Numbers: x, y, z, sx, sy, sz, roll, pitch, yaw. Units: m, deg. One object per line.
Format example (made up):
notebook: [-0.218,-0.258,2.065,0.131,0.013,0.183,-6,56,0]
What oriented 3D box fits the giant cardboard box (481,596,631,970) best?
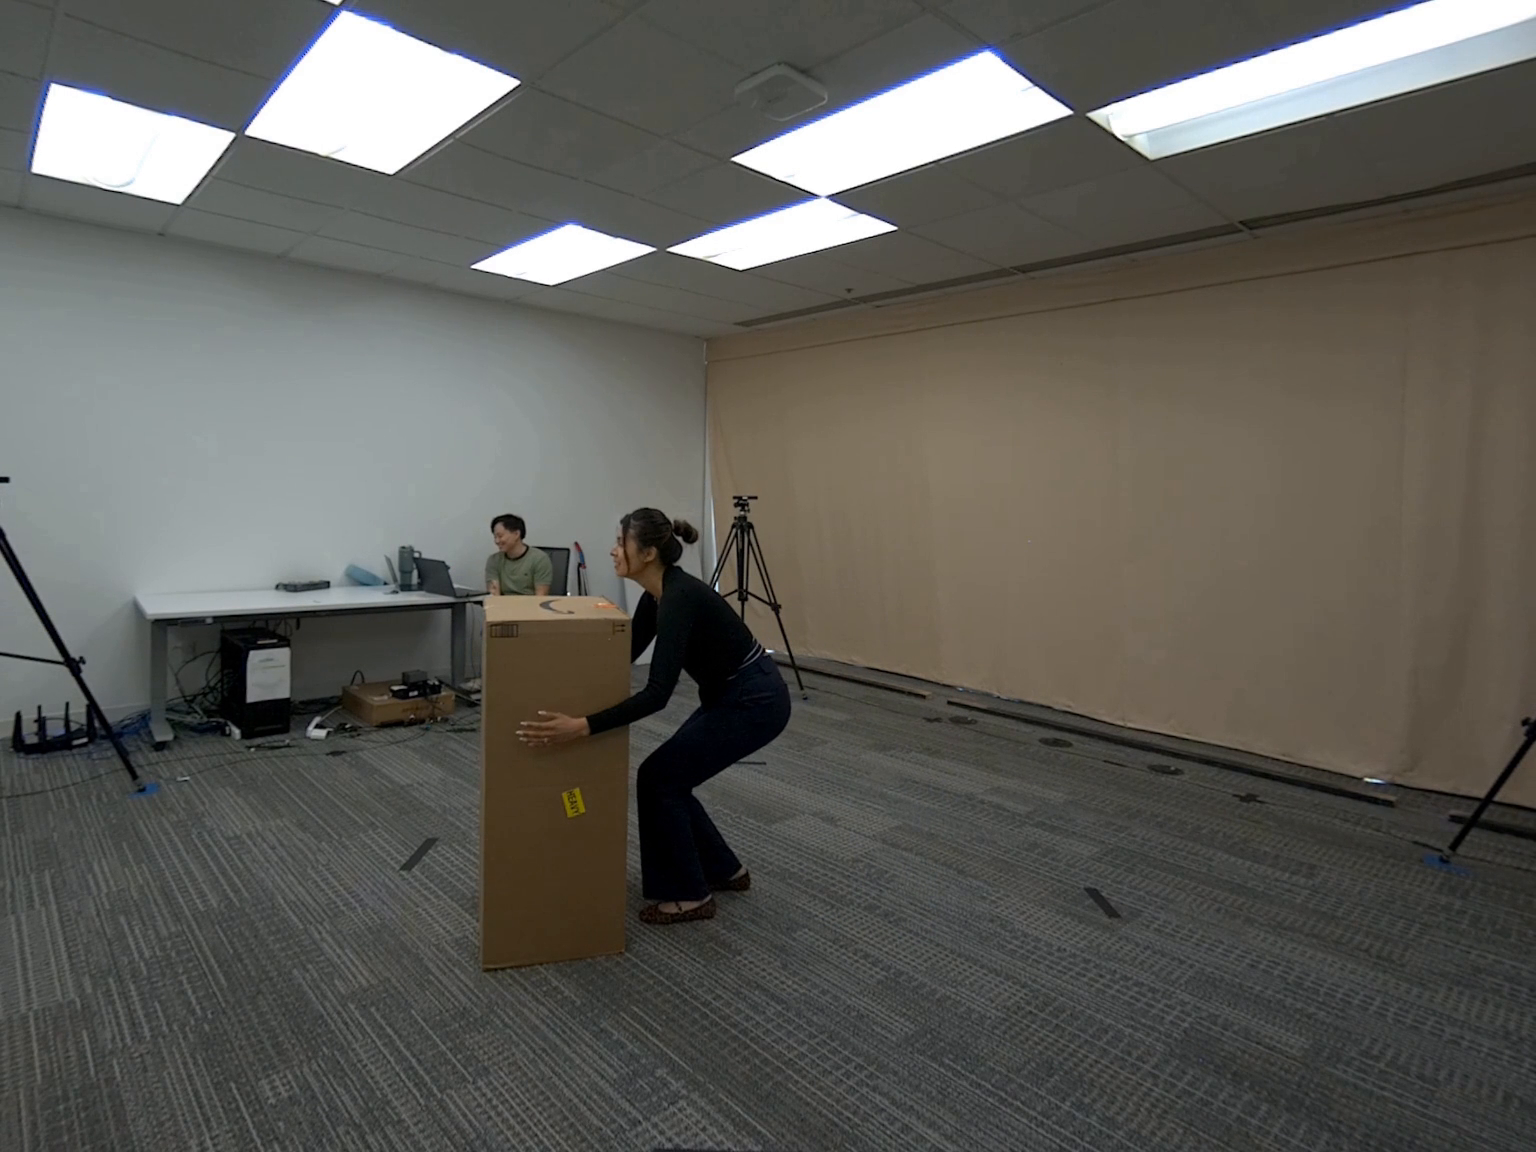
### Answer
giant cardboard box: [-0.714,0.614,2.742,0.420,1.023,0.587,0,3,-18]
